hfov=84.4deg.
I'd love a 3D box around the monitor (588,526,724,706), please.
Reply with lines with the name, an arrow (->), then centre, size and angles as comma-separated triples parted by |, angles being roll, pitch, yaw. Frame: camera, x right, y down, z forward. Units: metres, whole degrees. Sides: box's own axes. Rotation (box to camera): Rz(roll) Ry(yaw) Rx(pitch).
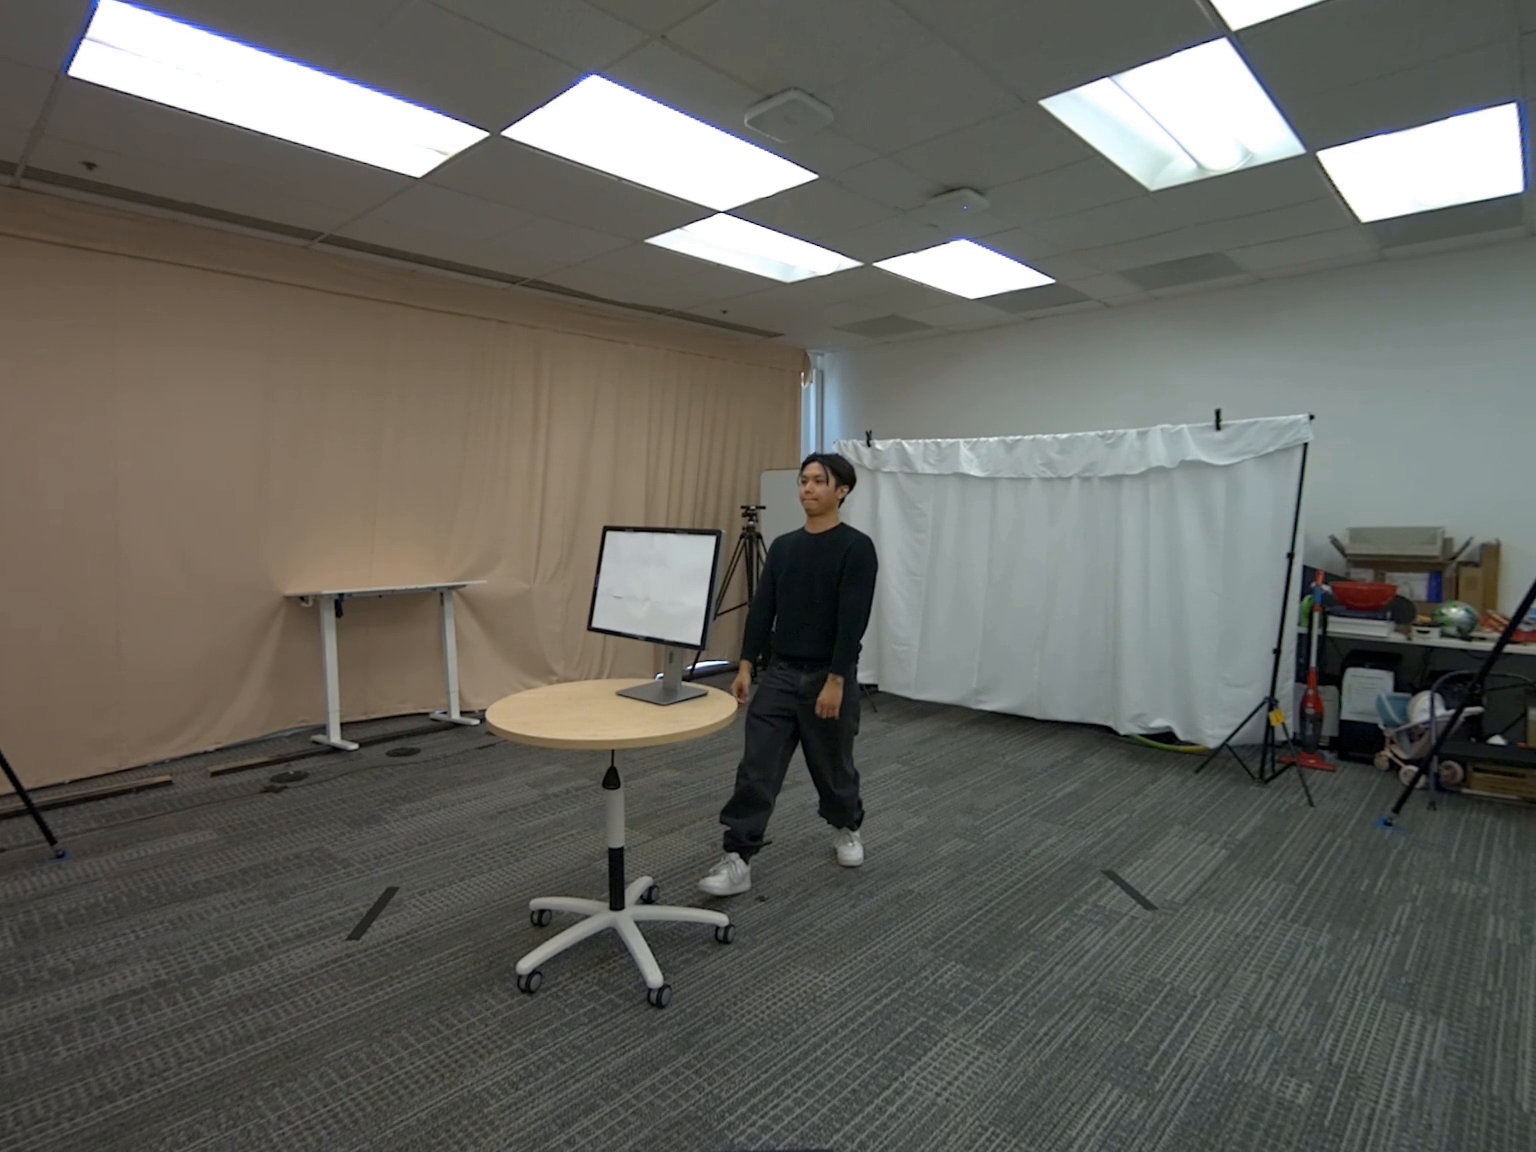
monitor -> -0.340, 0.120, 2.710 | 0.557, 0.521, 0.181 | 3, 5, 40
